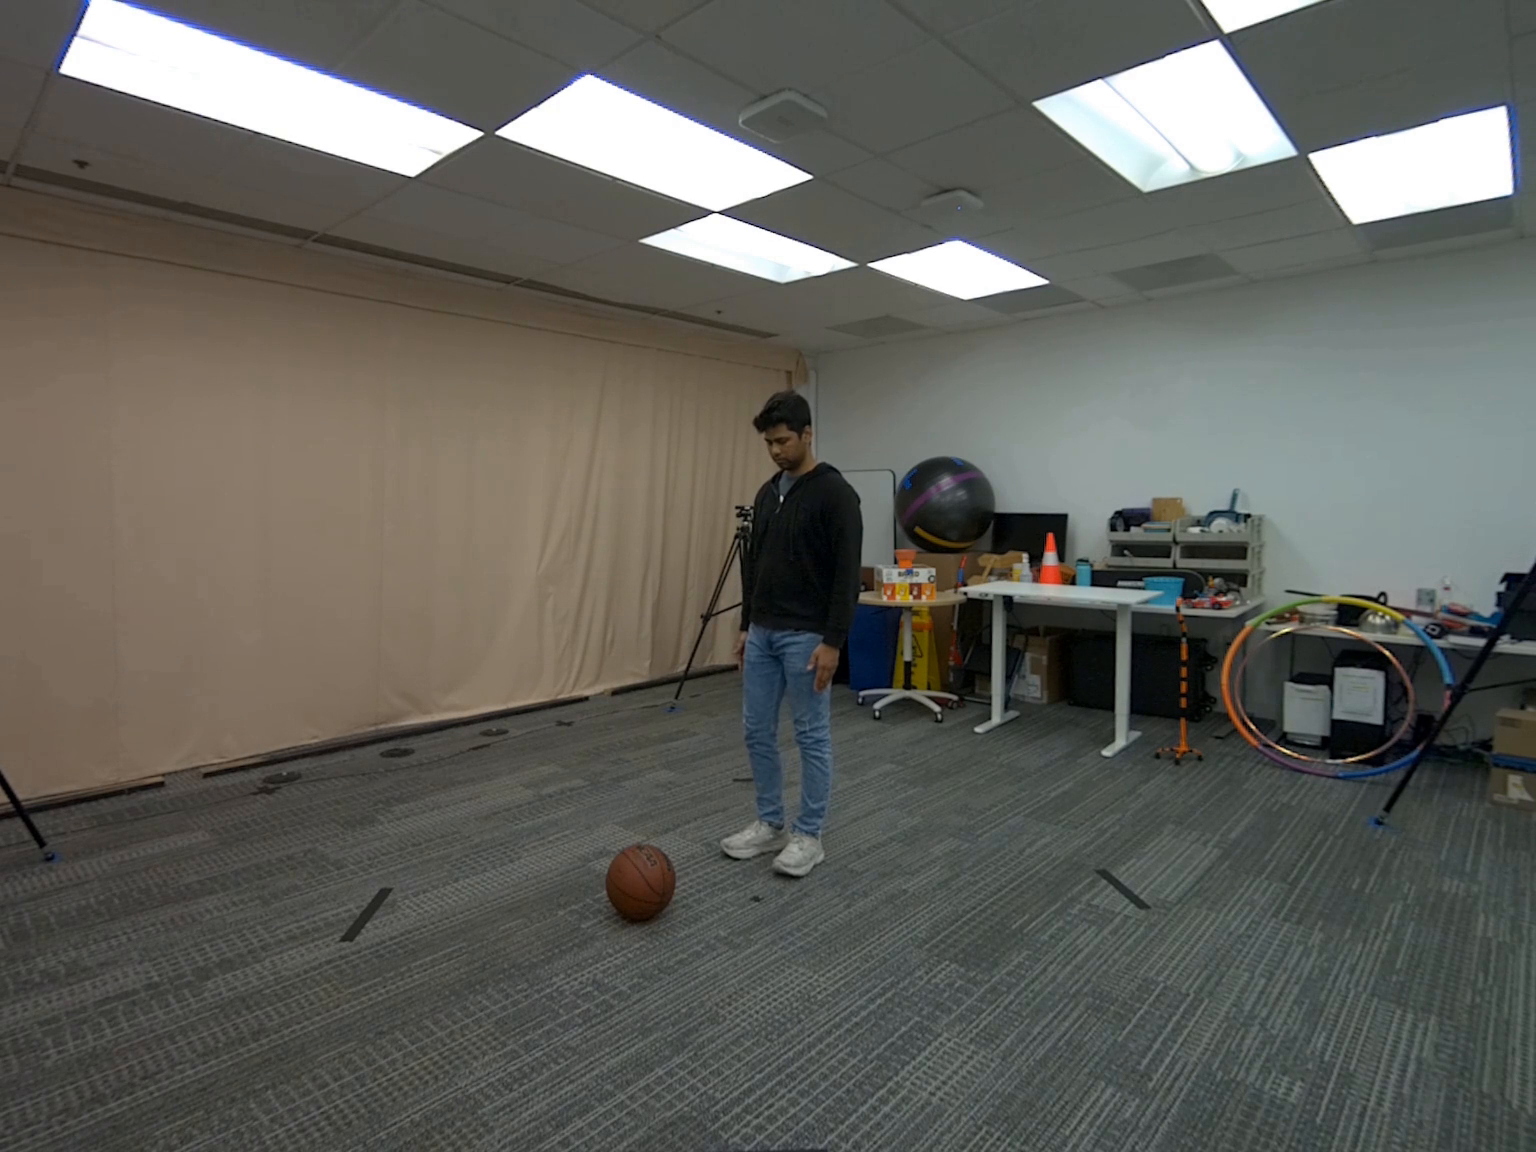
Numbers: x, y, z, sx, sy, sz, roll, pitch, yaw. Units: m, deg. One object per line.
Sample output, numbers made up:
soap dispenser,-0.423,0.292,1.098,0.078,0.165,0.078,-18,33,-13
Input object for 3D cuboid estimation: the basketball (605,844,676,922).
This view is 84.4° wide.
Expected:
basketball,-0.428,1.035,2.862,0.236,0.235,0.237,0,4,-2
